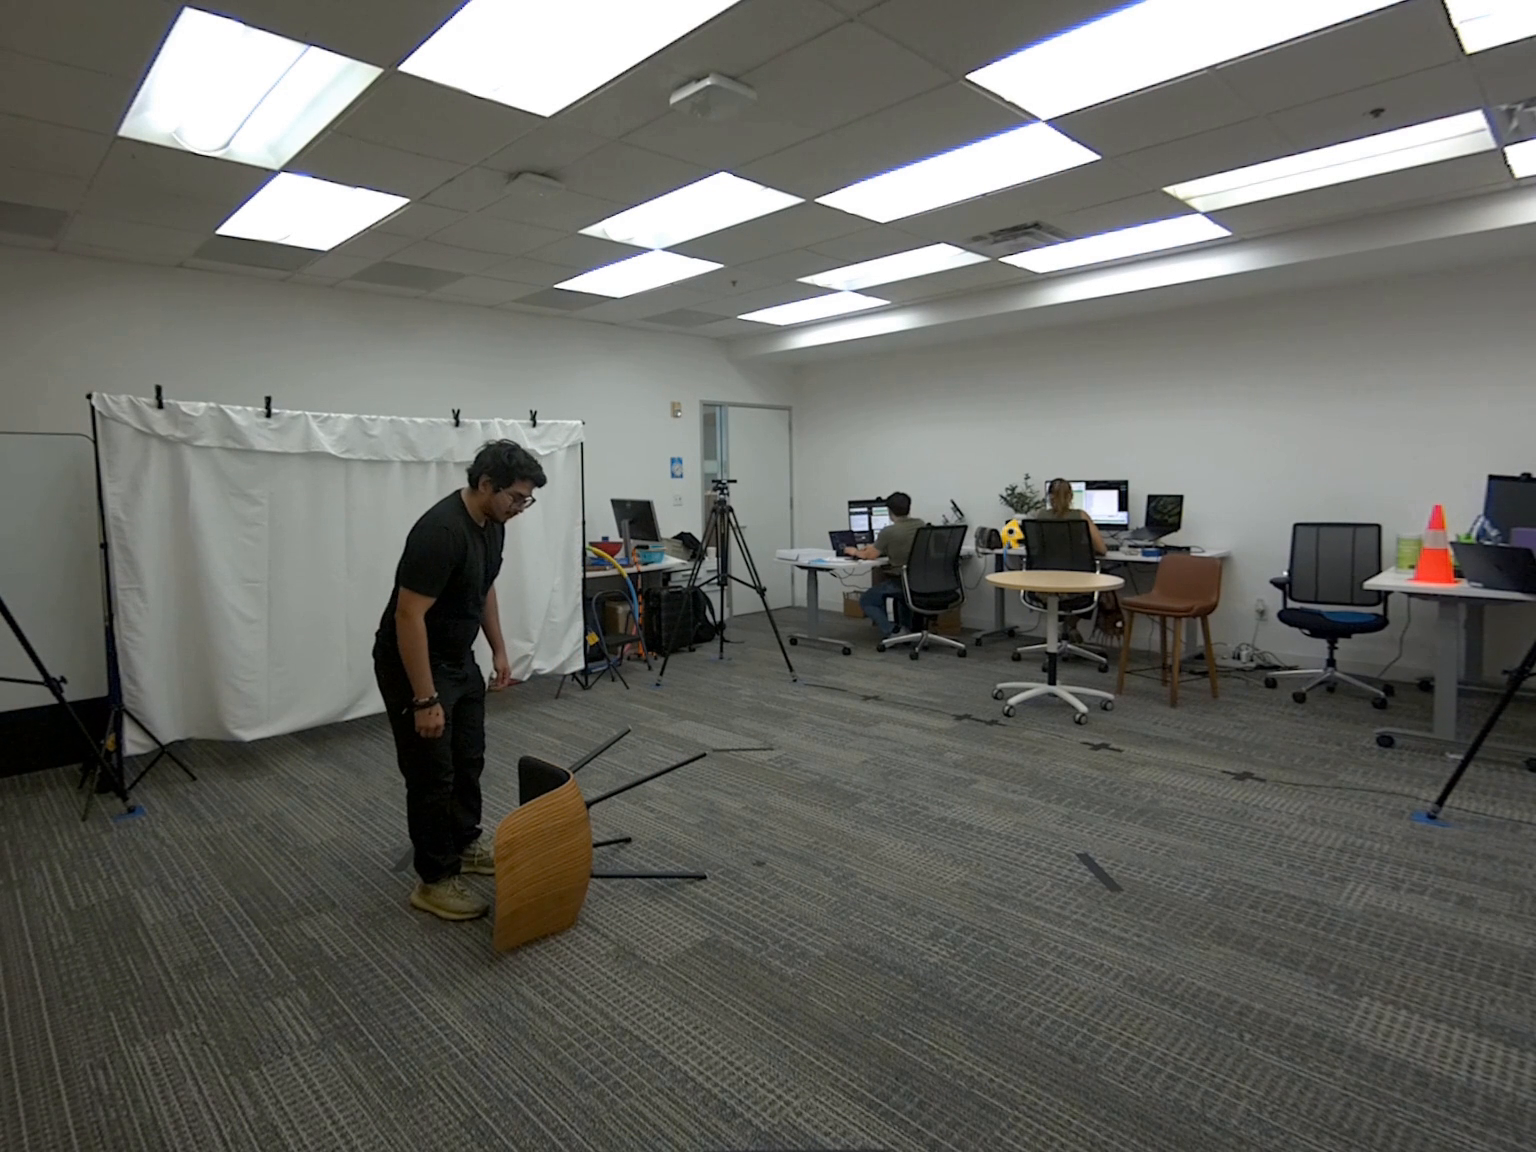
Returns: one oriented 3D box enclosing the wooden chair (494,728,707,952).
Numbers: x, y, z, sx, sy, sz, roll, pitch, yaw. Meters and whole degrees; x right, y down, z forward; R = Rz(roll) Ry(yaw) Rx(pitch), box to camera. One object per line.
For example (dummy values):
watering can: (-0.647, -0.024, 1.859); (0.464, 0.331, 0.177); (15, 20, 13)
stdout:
wooden chair: (-0.681, 0.854, 2.865); (0.539, 0.476, 0.855); (4, 8, 40)
